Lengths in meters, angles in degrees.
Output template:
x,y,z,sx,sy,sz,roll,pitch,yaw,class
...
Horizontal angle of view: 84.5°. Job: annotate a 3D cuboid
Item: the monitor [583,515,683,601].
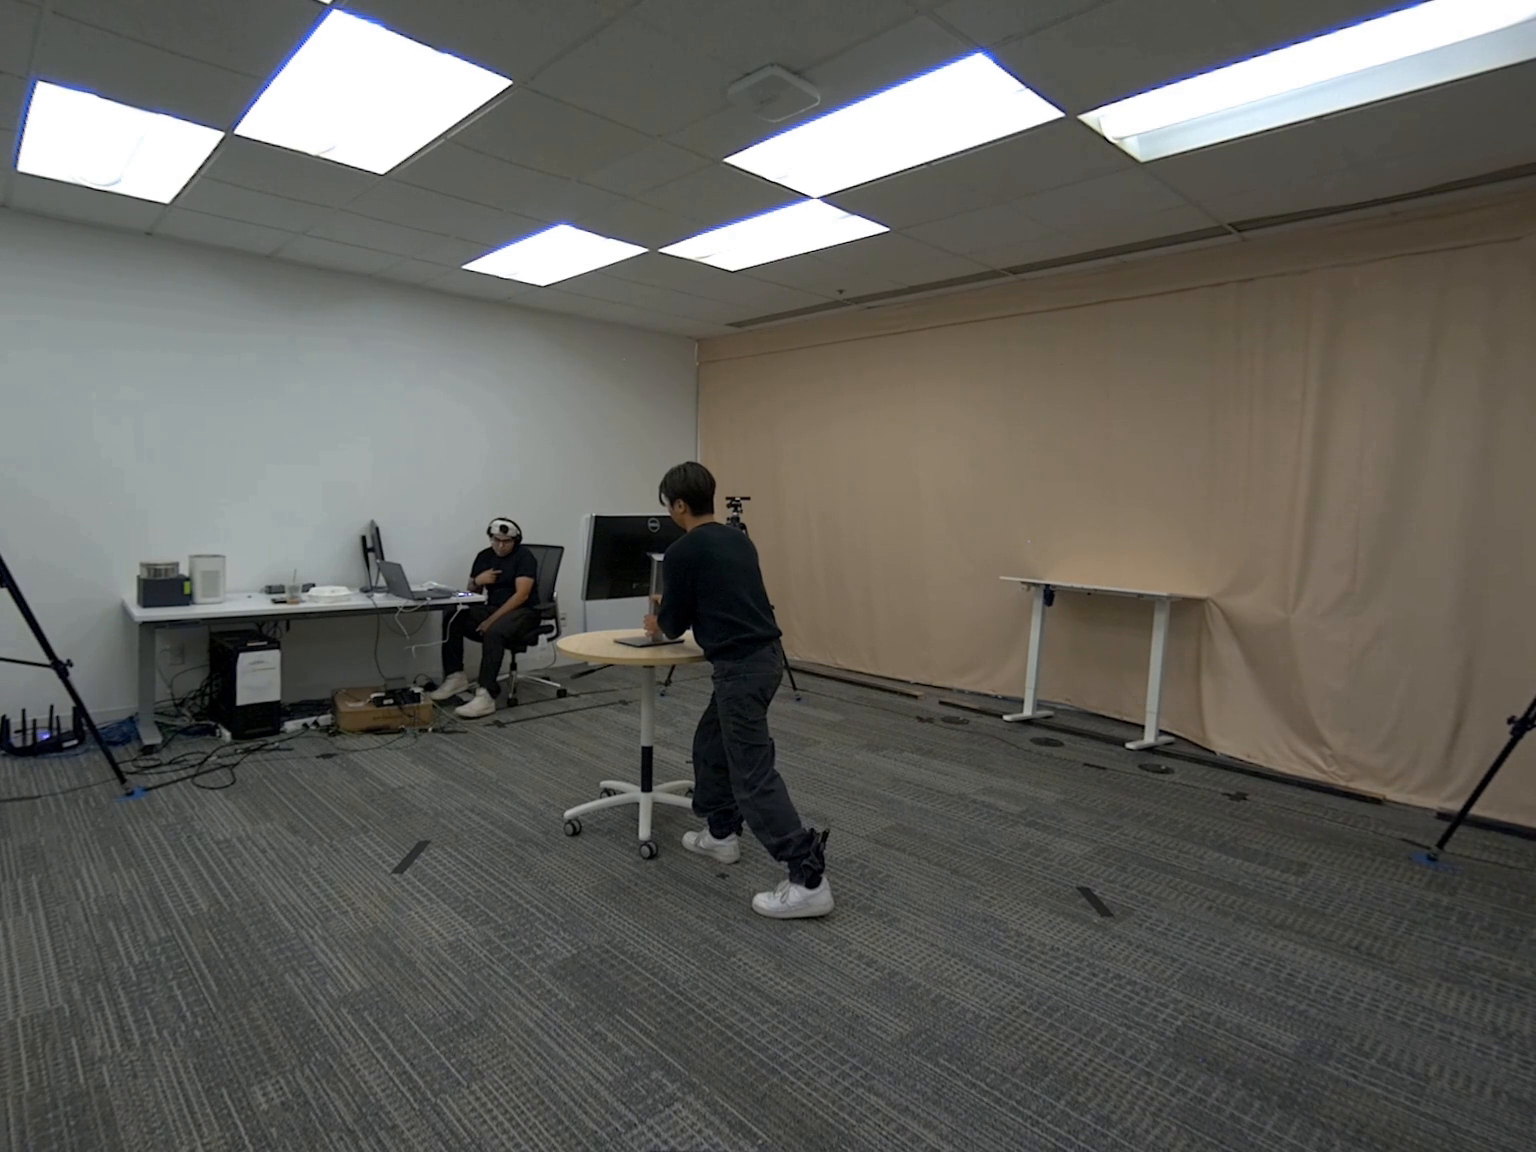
x,y,z,sx,sy,sz,roll,pitch,yaw,class
-0.500,0.007,3.536,0.518,0.516,0.178,-5,1,-42,monitor
